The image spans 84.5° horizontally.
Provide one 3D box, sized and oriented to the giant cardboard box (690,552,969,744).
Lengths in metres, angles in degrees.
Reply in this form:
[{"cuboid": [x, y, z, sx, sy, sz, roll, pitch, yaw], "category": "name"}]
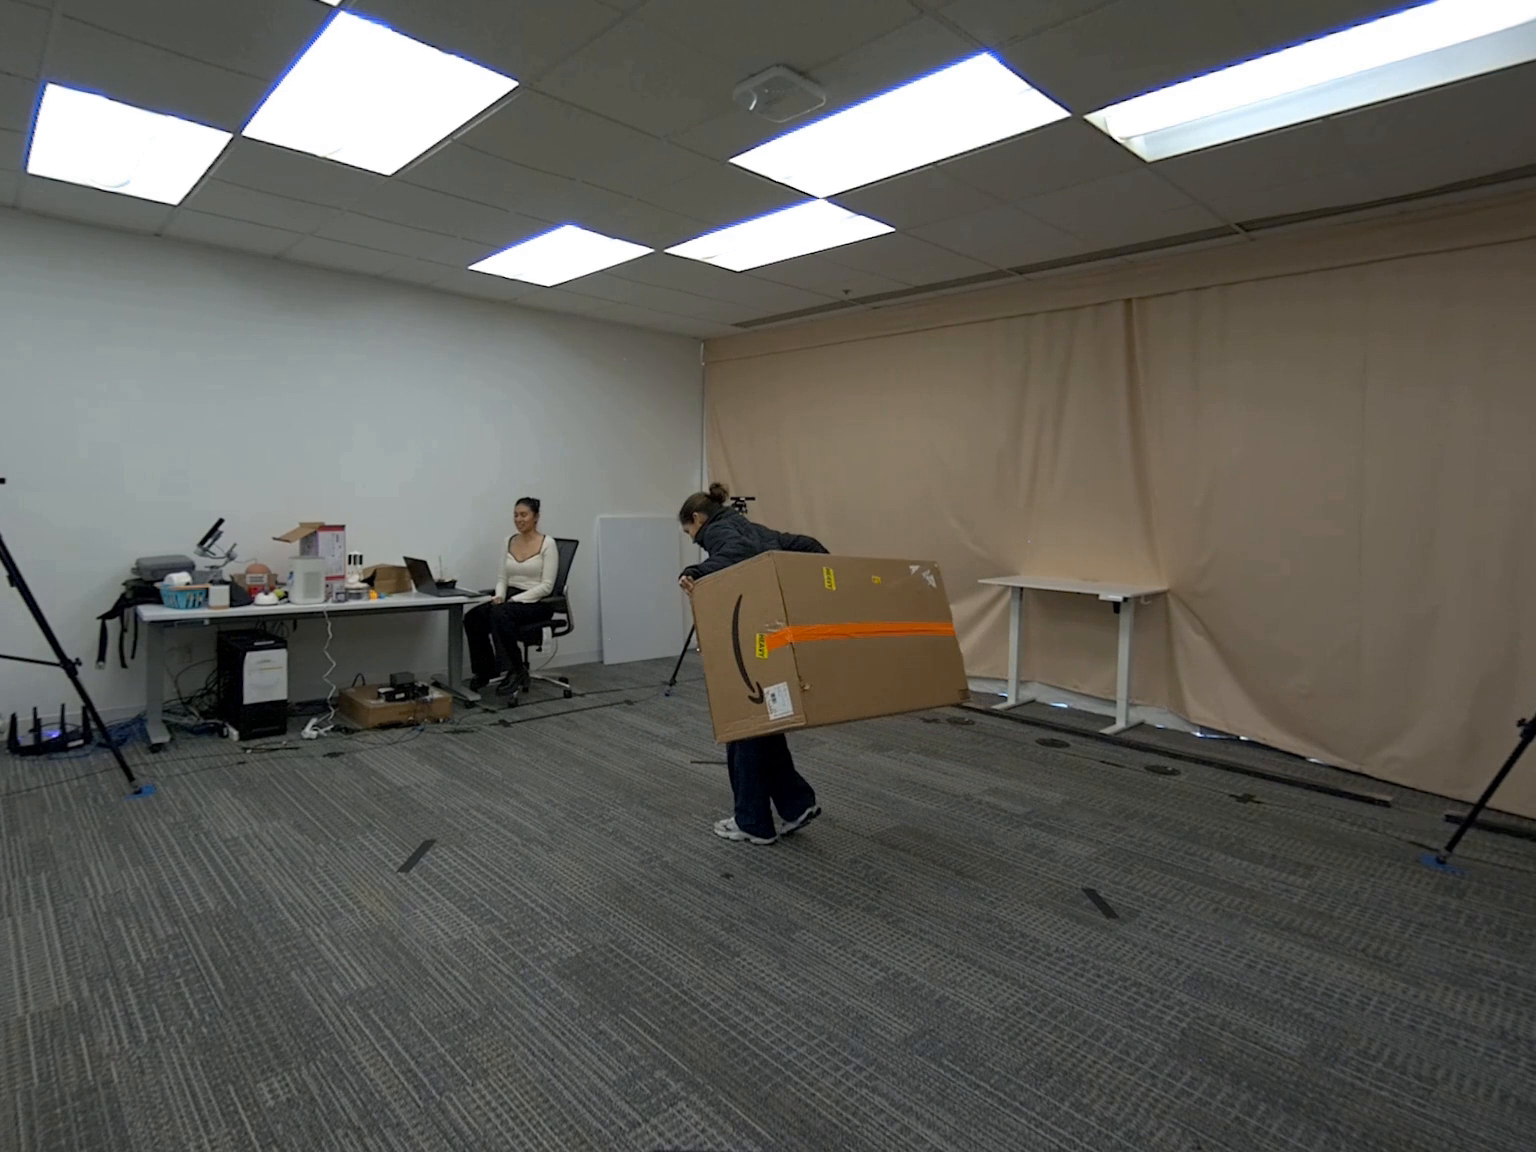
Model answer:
[{"cuboid": [0.258, 0.262, 3.162, 0.432, 0.584, 1.000, -23, -17, 41], "category": "giant cardboard box"}]
